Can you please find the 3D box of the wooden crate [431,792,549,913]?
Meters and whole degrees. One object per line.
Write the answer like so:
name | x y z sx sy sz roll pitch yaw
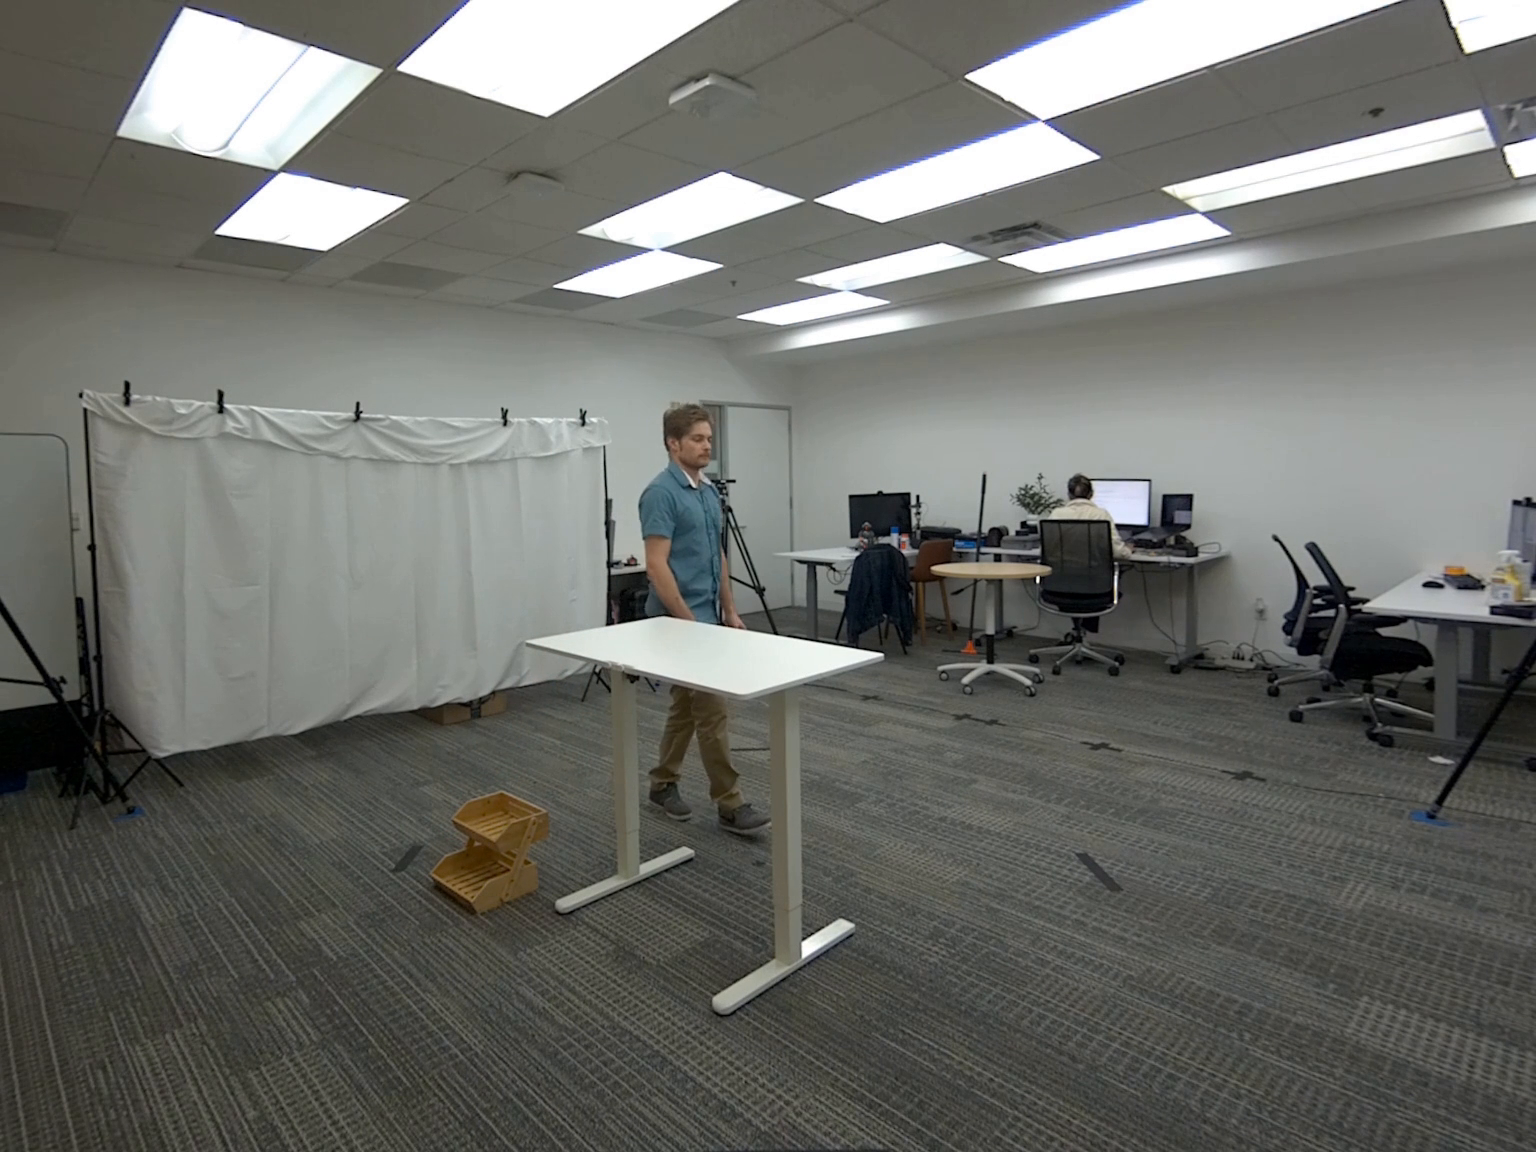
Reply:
wooden crate | -0.974 0.948 2.979 0.334 0.272 0.294 4 6 43
